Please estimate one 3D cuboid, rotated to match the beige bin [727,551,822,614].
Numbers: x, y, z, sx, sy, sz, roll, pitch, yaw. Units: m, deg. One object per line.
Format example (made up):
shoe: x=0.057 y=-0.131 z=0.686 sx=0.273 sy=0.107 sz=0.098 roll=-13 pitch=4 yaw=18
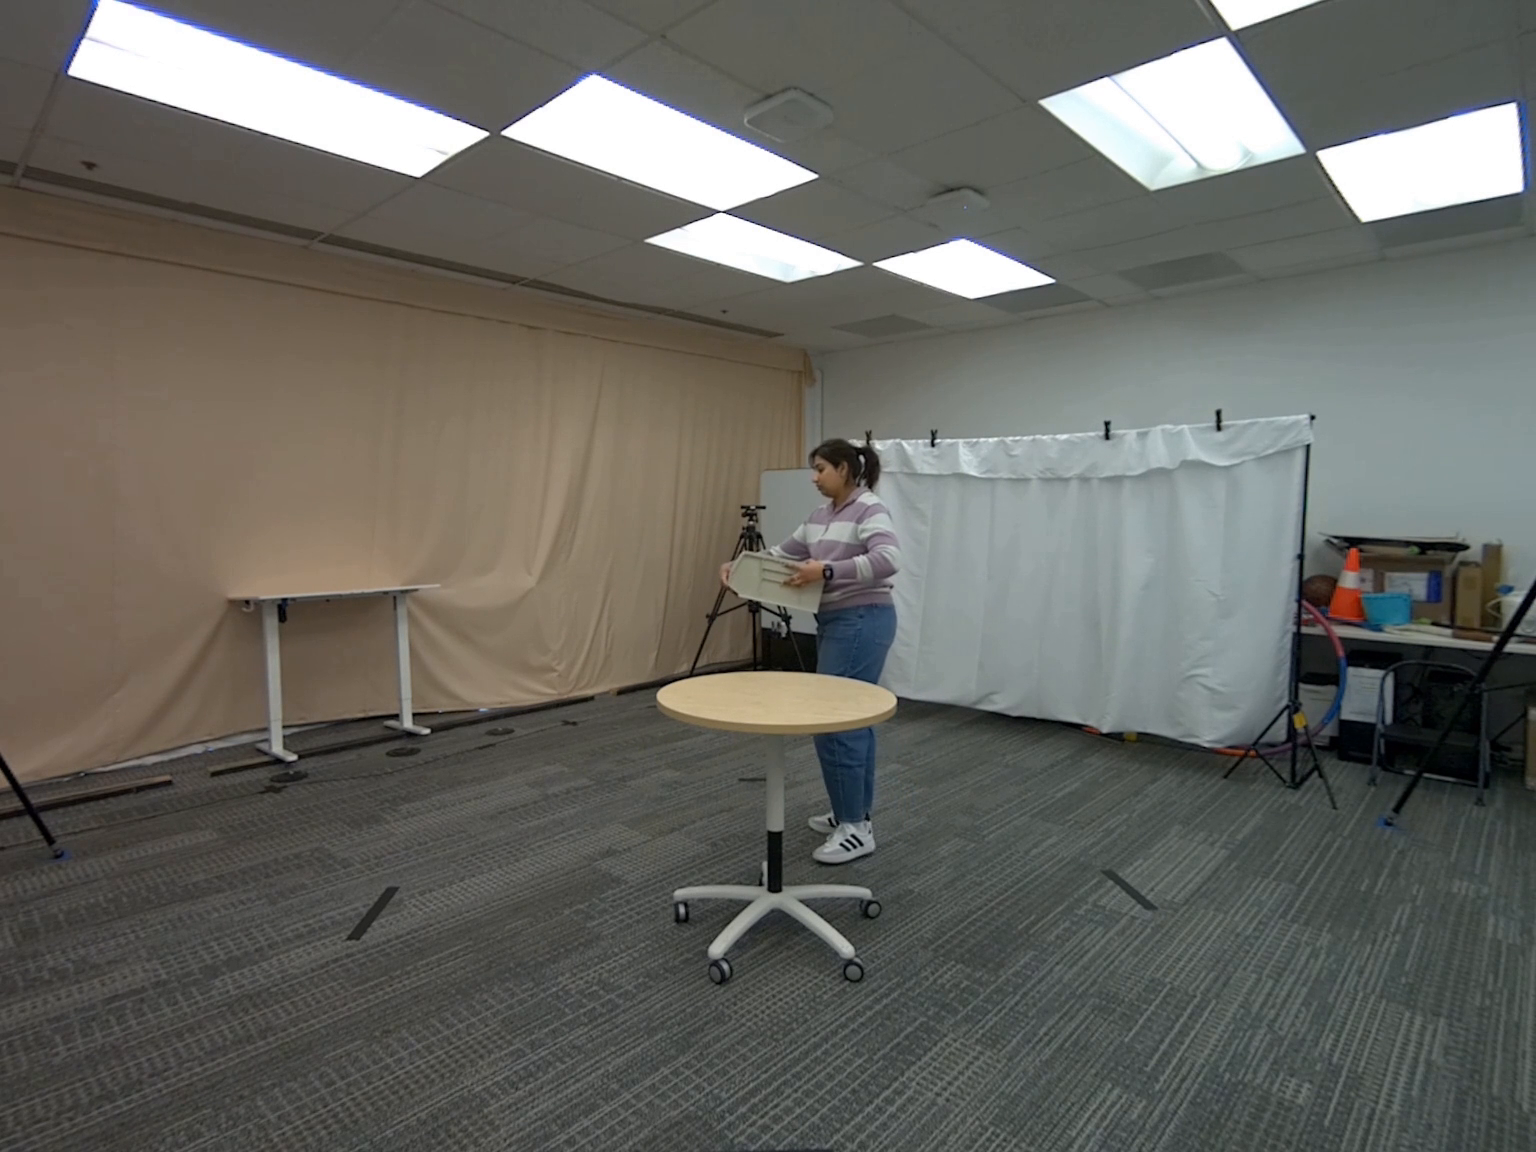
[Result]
beige bin: x=0.030 y=0.022 z=3.465 sx=0.377 sy=0.189 sz=0.422 roll=12 pitch=-2 yaw=-2
